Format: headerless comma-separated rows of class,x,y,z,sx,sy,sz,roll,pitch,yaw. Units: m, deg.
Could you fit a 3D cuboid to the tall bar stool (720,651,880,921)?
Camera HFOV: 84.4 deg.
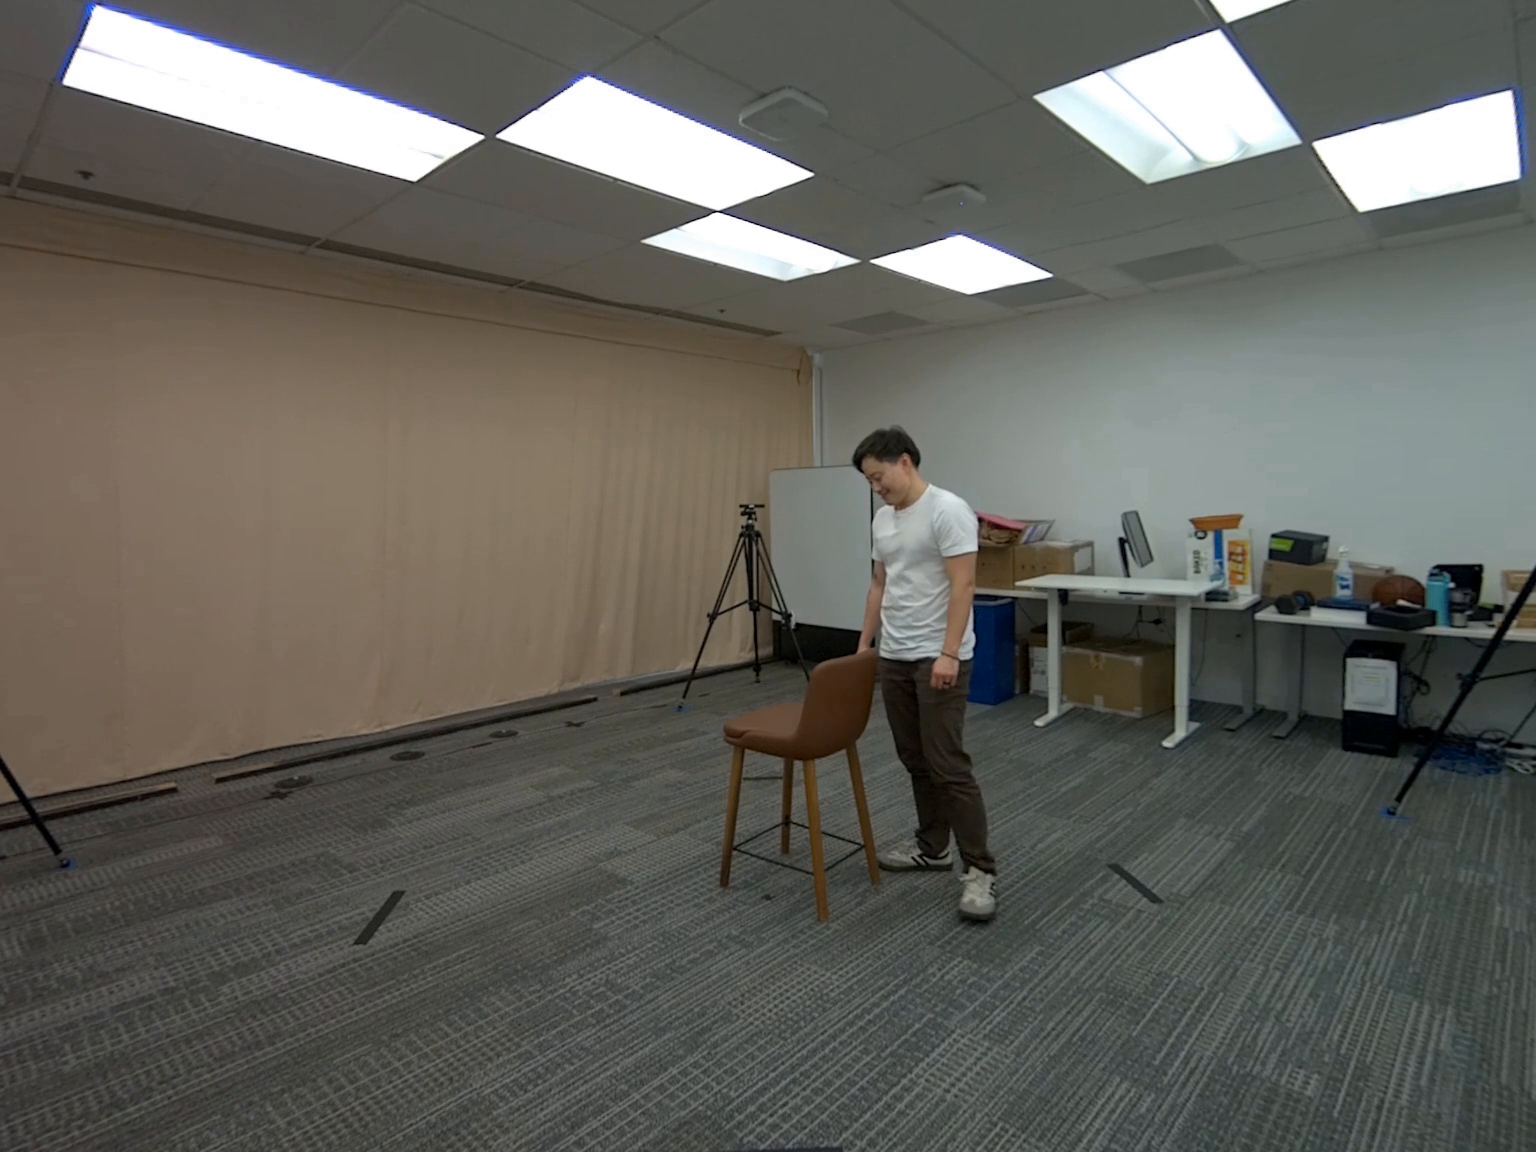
tall bar stool,0.125,0.695,3.055,0.483,0.887,0.443,5,6,39
